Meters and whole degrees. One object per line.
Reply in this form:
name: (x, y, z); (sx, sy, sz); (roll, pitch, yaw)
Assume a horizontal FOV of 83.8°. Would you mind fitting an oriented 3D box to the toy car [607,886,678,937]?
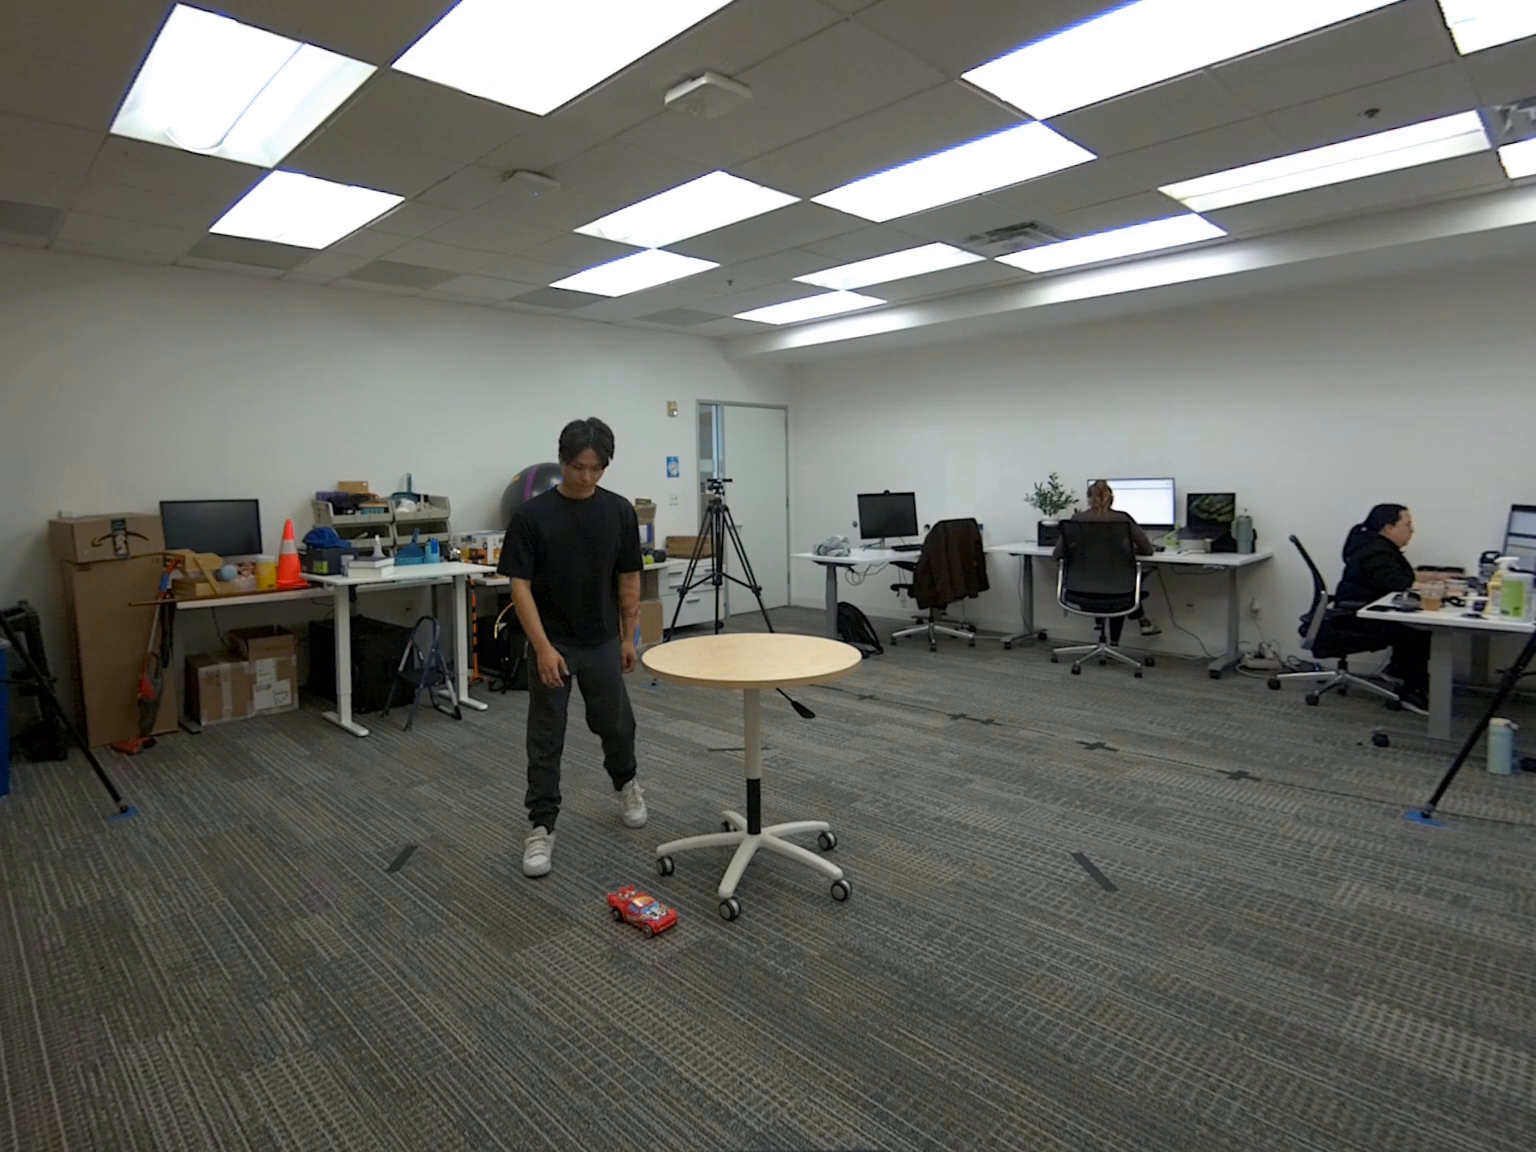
toy car: (-0.407, 1.065, 2.721); (0.264, 0.082, 0.127); (19, 18, 40)
